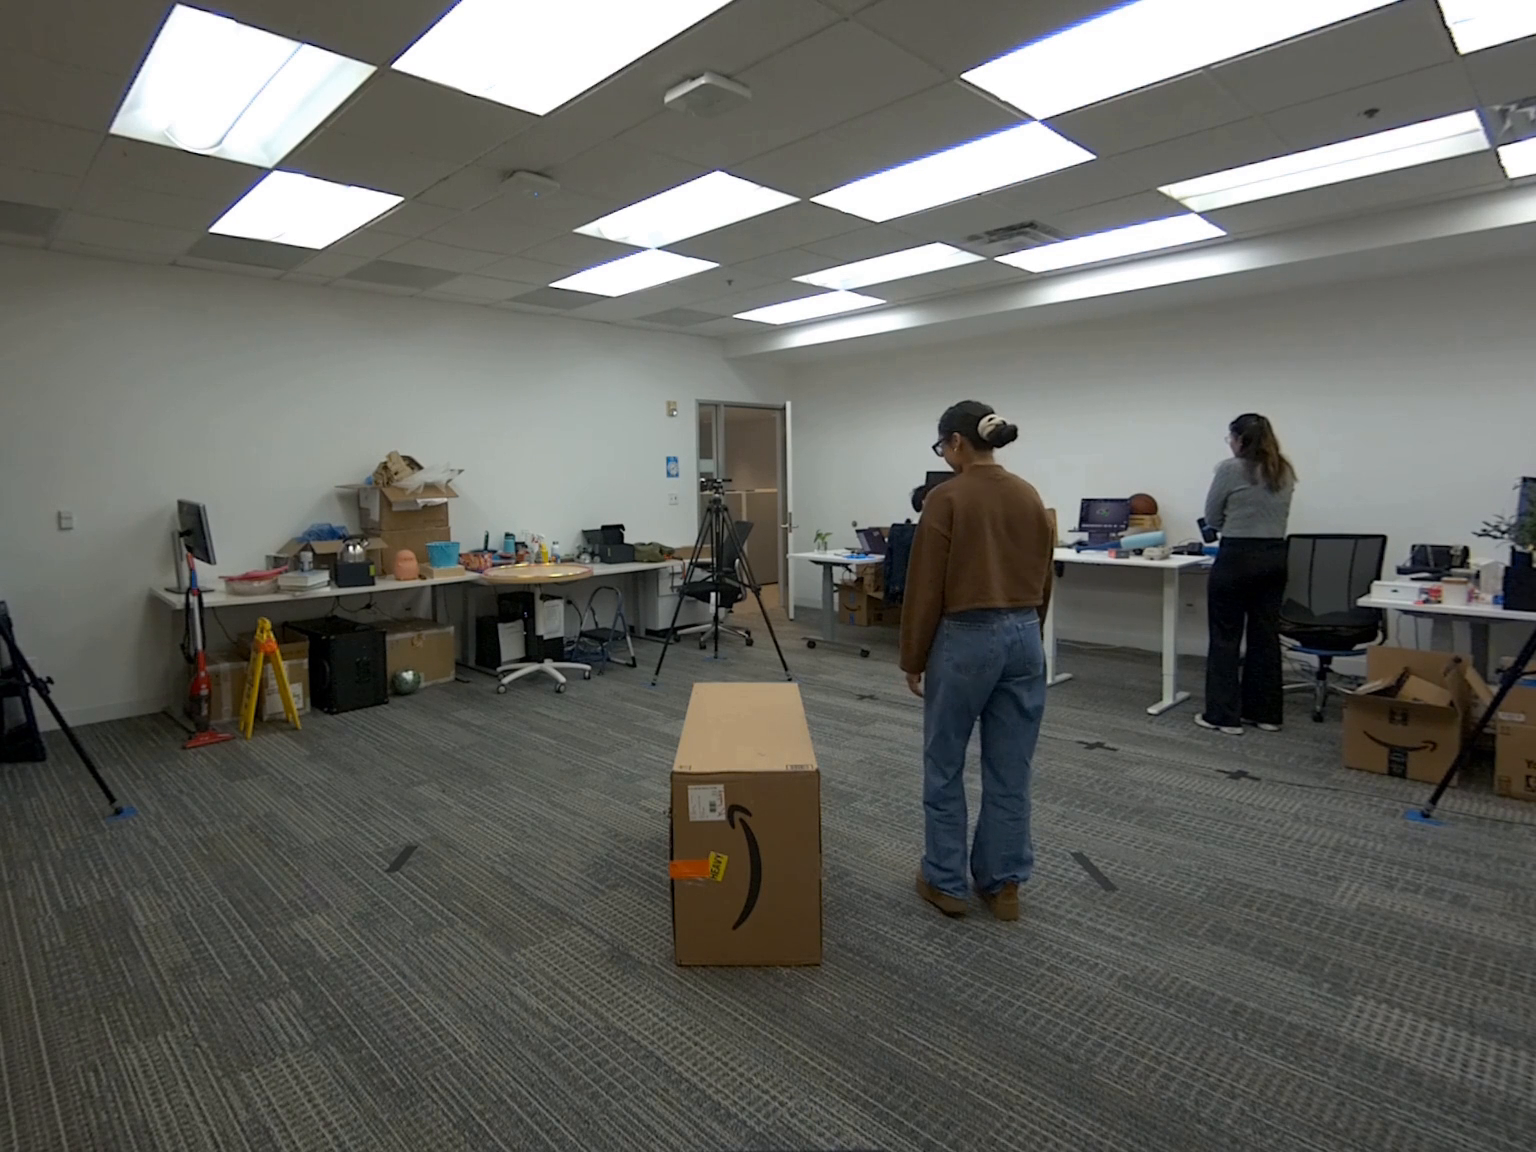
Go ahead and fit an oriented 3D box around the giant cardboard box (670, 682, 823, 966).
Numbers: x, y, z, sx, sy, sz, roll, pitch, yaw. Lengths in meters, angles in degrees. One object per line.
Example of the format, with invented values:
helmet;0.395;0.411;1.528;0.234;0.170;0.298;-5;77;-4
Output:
giant cardboard box;-0.074;0.777;2.941;0.447;0.581;1.031;1;6;0
